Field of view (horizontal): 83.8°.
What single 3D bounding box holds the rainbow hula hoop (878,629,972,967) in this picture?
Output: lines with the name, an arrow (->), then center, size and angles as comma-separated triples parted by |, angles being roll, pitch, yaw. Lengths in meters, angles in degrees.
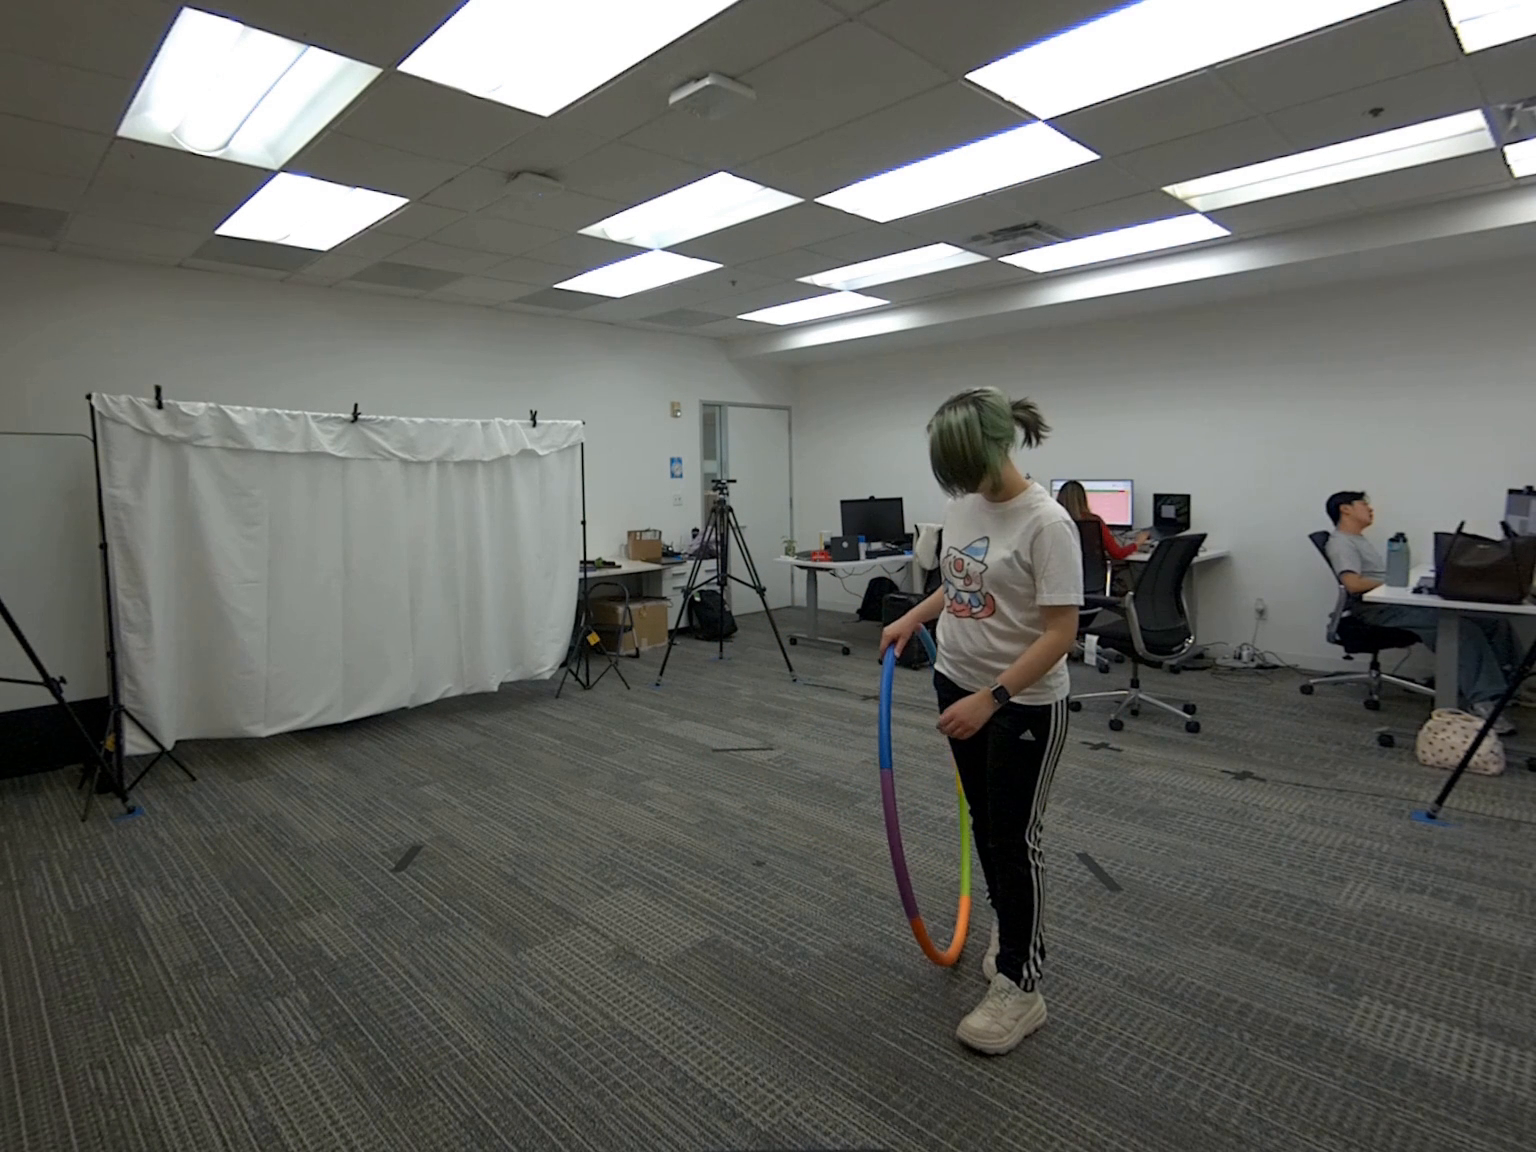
rainbow hula hoop -> 0.481, 0.615, 2.555 | 0.036, 0.979, 0.962 | -11, 0, 22
